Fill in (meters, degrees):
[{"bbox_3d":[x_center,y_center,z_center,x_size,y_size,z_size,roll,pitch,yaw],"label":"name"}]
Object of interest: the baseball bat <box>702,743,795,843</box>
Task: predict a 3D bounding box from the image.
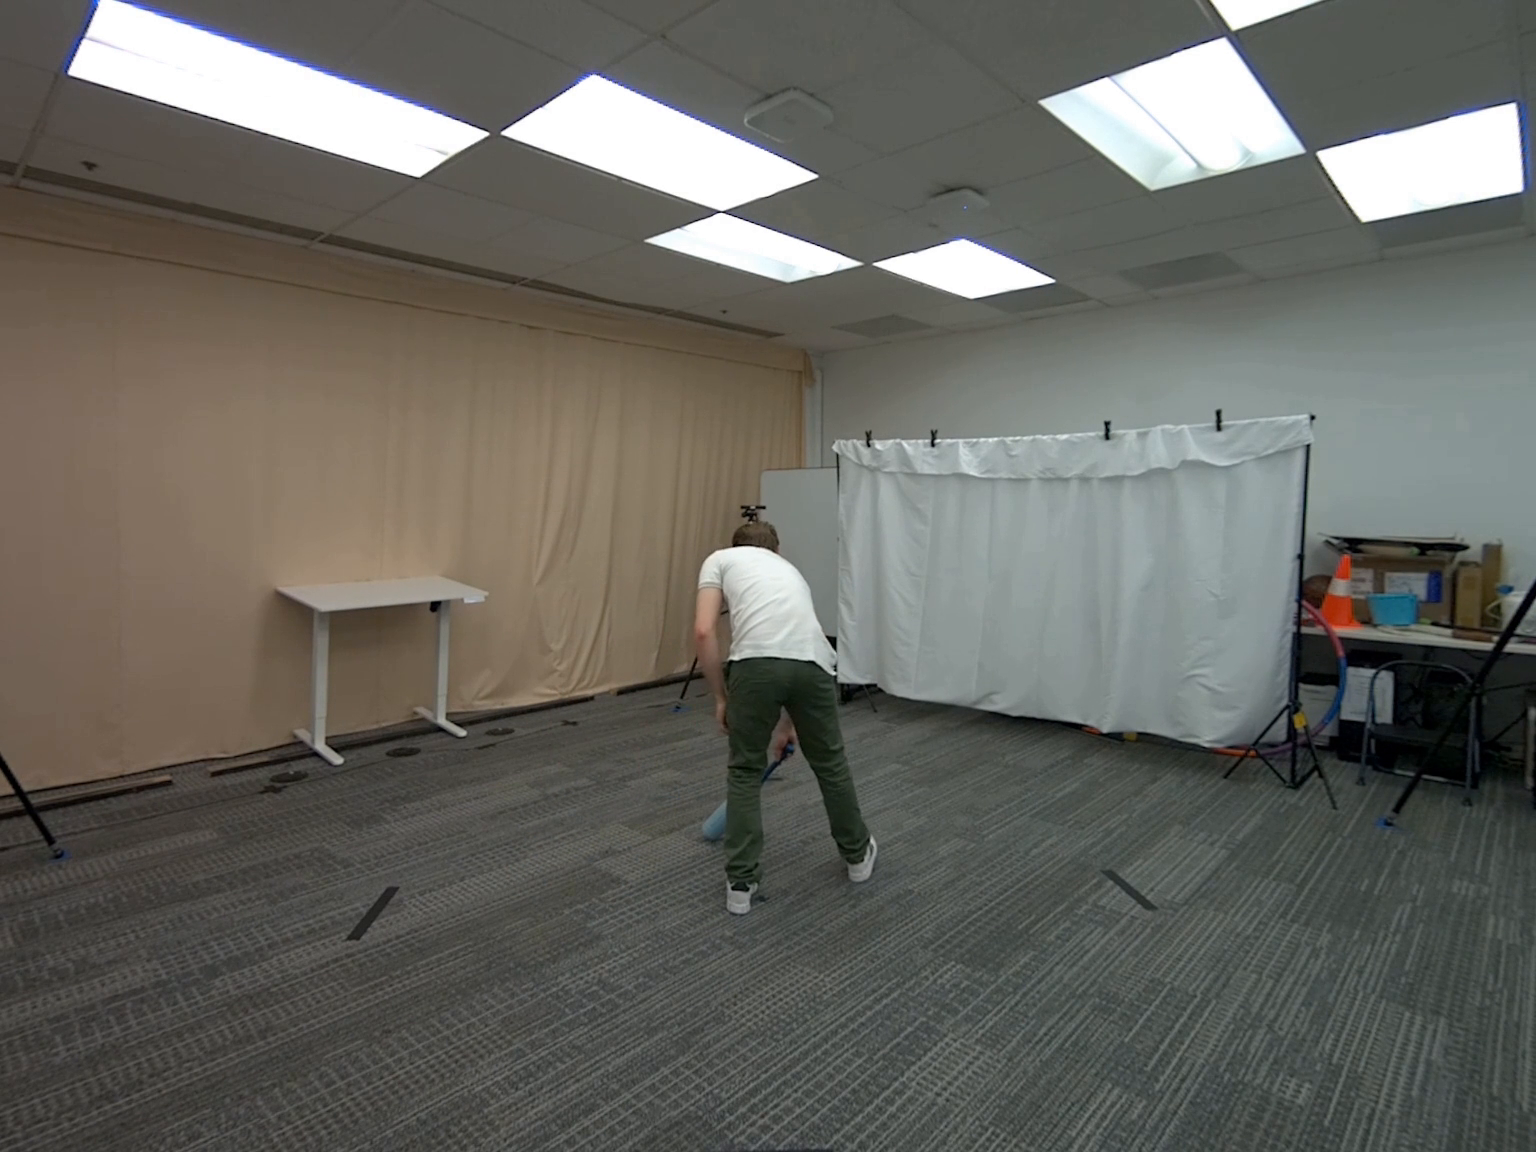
[{"bbox_3d":[-0.071,0.887,3.454,0.087,0.545,0.090,38,16,-15],"label":"baseball bat"}]
